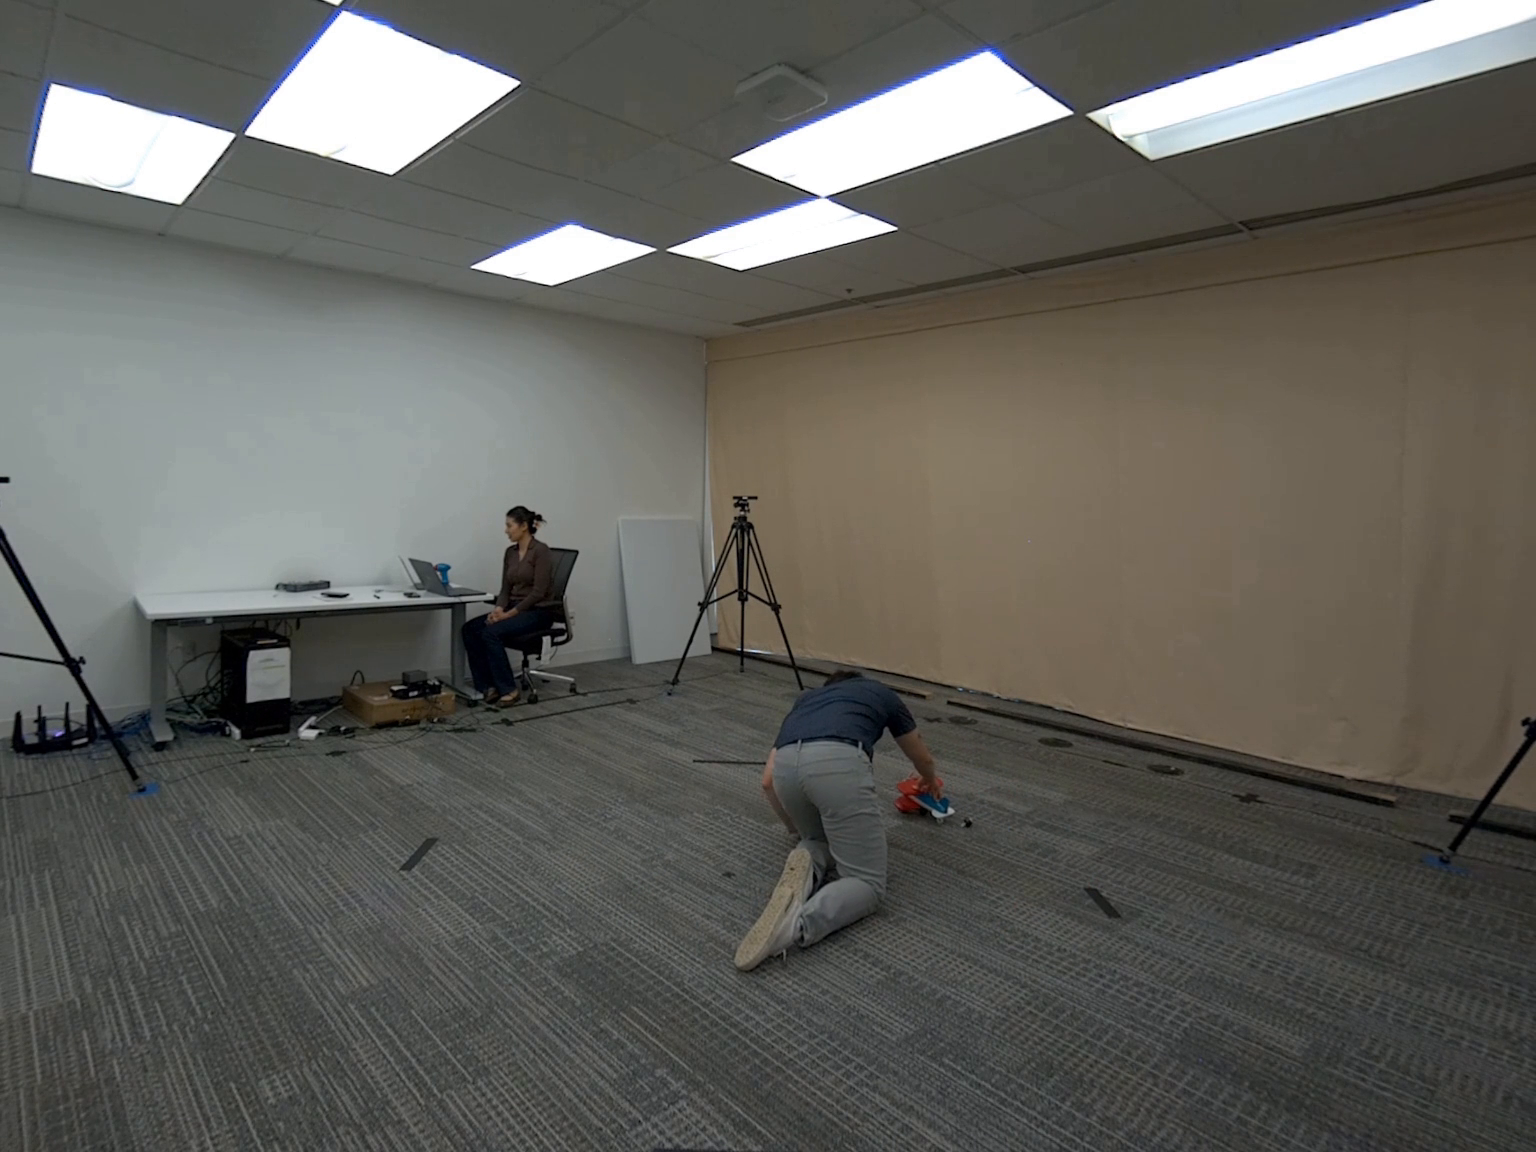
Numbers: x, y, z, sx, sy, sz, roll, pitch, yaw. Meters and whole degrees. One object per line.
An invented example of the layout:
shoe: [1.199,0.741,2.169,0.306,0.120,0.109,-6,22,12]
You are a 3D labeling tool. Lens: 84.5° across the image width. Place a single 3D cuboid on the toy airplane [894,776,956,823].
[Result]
toy airplane: [0.700,0.996,3.755,0.264,0.156,0.247,2,6,26]
